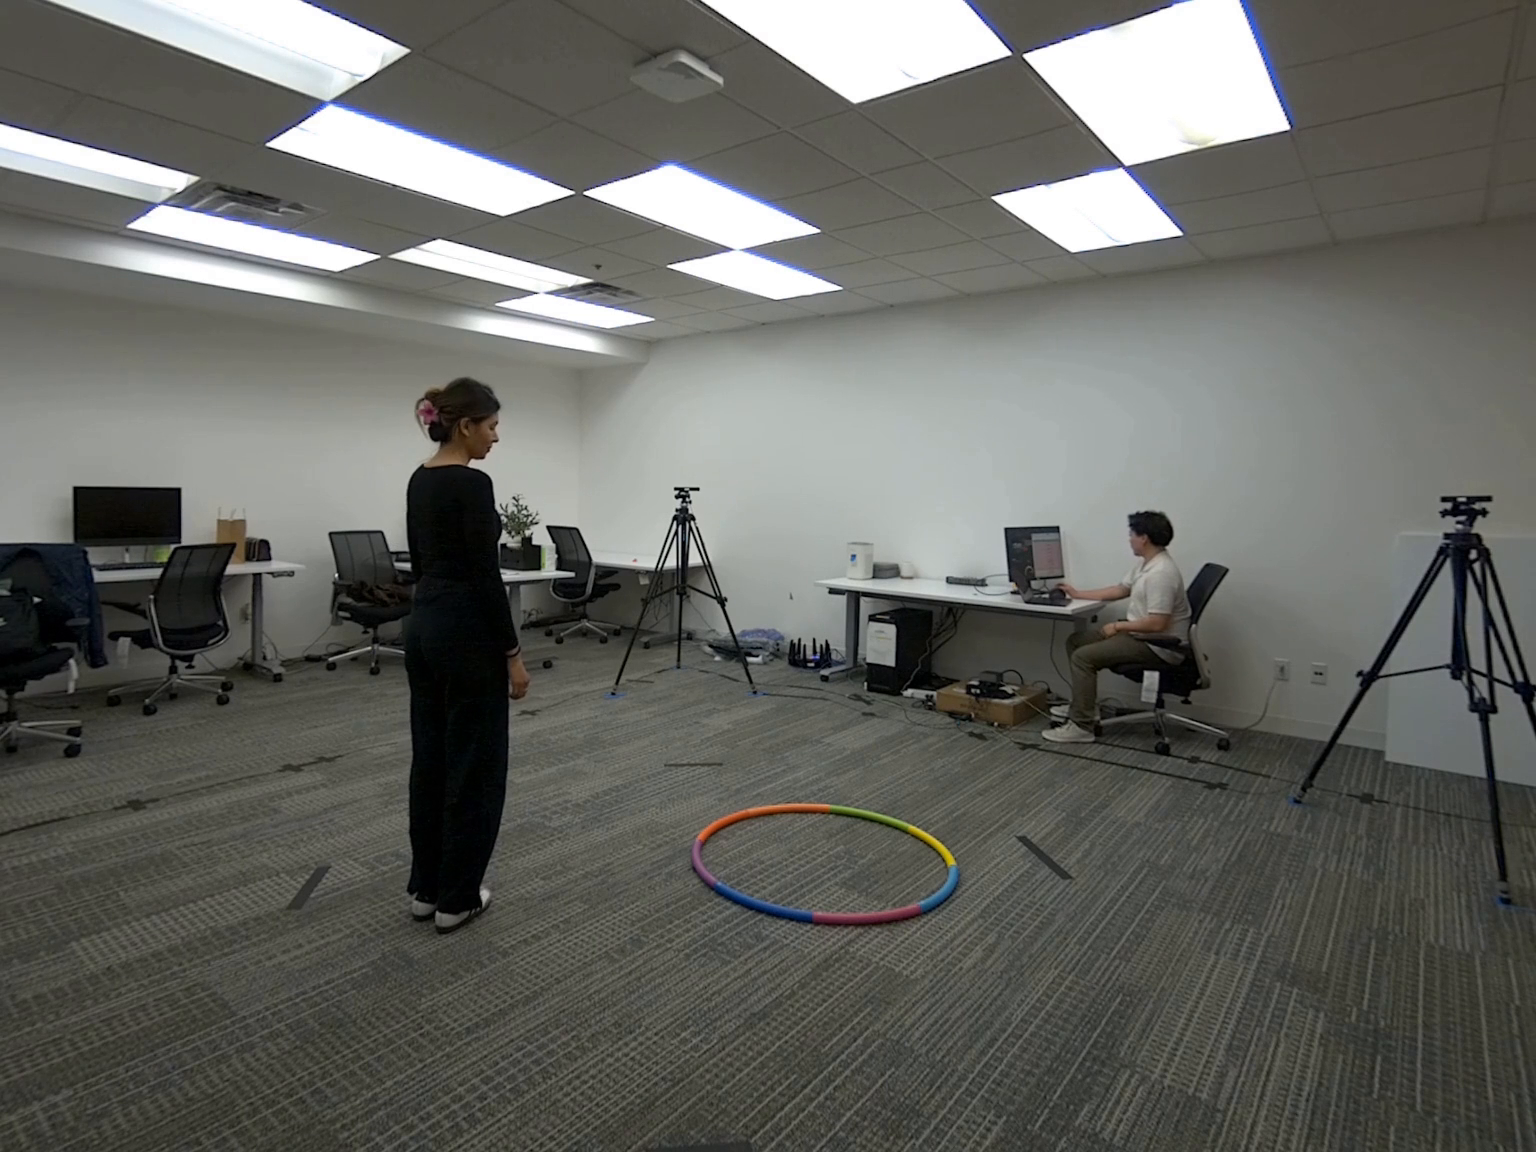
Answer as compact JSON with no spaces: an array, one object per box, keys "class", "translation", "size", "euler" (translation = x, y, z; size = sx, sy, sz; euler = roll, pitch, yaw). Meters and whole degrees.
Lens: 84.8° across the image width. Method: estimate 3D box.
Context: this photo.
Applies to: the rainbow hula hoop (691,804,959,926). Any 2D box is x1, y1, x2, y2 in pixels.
[{"class":"rainbow hula hoop","translation":[0.195,1.035,3.198],"size":[0.978,0.035,0.984],"euler":[1,6,-2]}]
